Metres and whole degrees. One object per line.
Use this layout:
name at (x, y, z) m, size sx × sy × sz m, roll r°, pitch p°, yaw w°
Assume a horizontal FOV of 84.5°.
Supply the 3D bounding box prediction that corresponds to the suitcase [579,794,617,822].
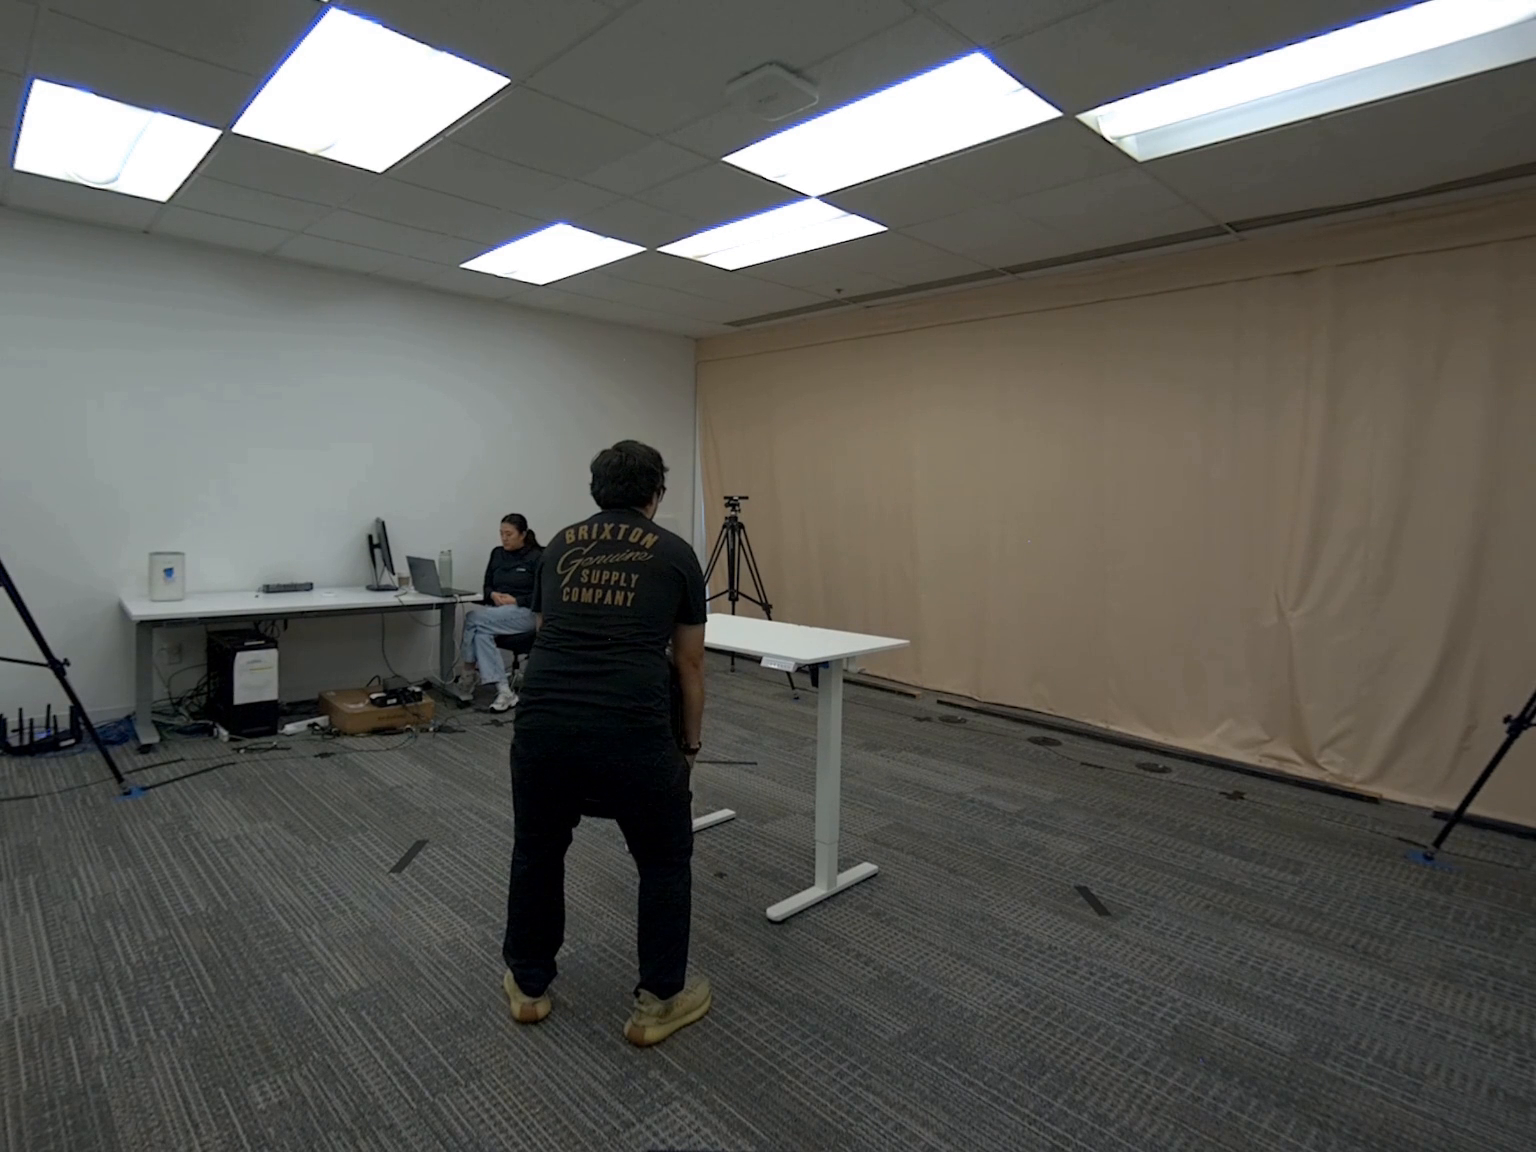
suitcase at (-0.431, 0.455, 2.469) m, size 0.378 × 0.547 × 0.247 m, roll 3°, pitch 6°, yaw 9°
